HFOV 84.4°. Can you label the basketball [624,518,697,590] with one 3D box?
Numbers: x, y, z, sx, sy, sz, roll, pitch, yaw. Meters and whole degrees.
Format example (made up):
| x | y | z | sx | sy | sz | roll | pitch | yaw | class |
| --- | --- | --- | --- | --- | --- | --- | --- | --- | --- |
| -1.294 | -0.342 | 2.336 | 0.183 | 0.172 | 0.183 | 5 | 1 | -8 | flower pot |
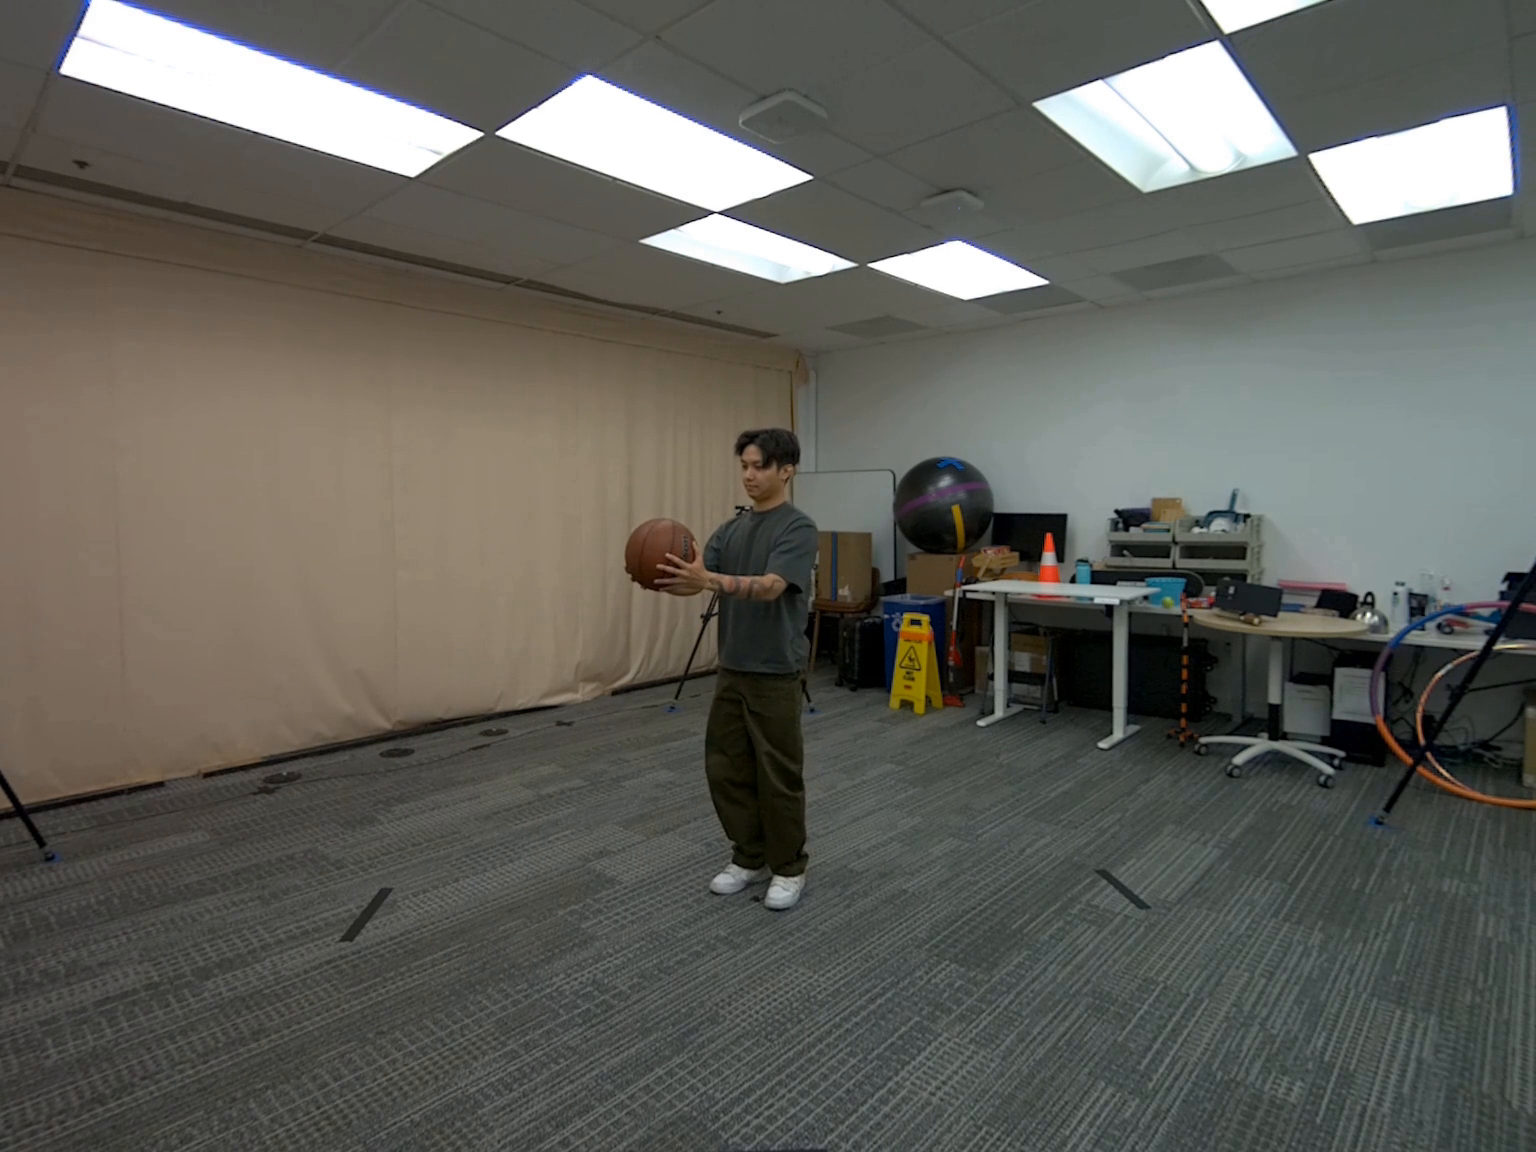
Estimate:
| x | y | z | sx | sy | sz | roll | pitch | yaw | class |
| --- | --- | --- | --- | --- | --- | --- | --- | --- | --- |
| -0.337 | -0.068 | 2.732 | 0.236 | 0.235 | 0.237 | 0 | 4 | -2 | basketball |
